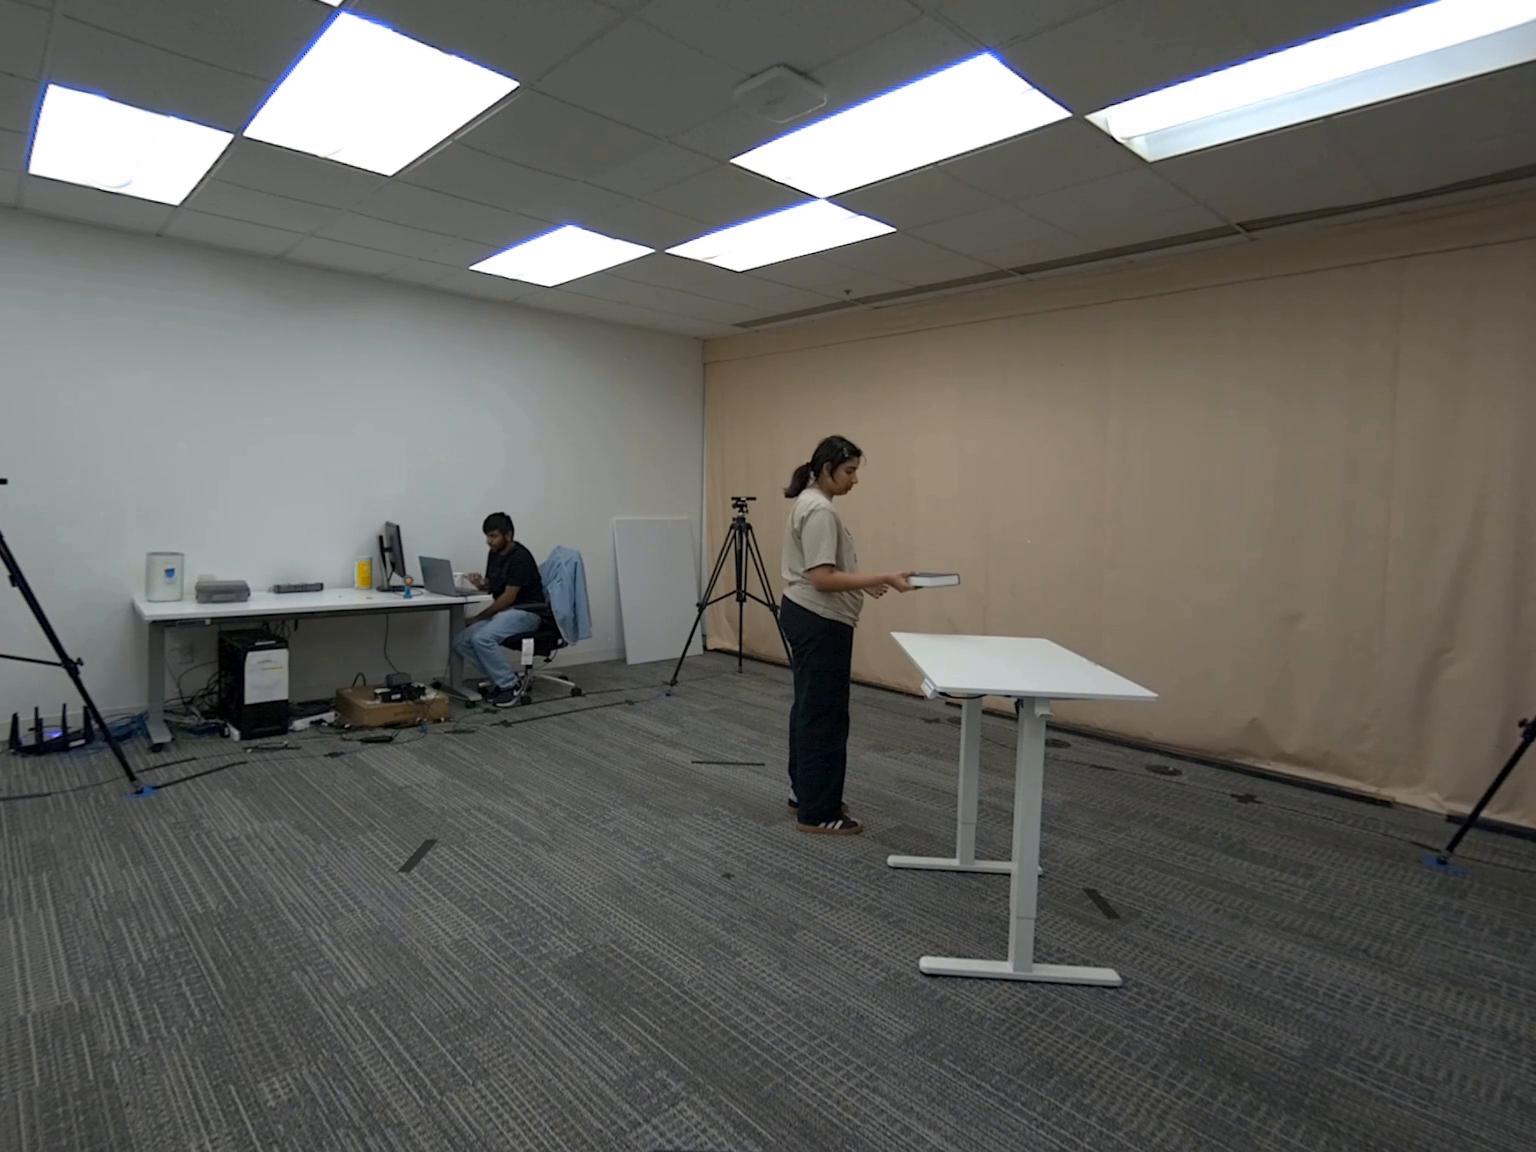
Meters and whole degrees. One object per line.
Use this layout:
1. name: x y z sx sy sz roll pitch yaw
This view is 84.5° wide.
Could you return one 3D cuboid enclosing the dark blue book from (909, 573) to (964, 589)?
1. dark blue book: 0.627 0.016 3.376 0.160 0.045 0.250 -5 3 -33
